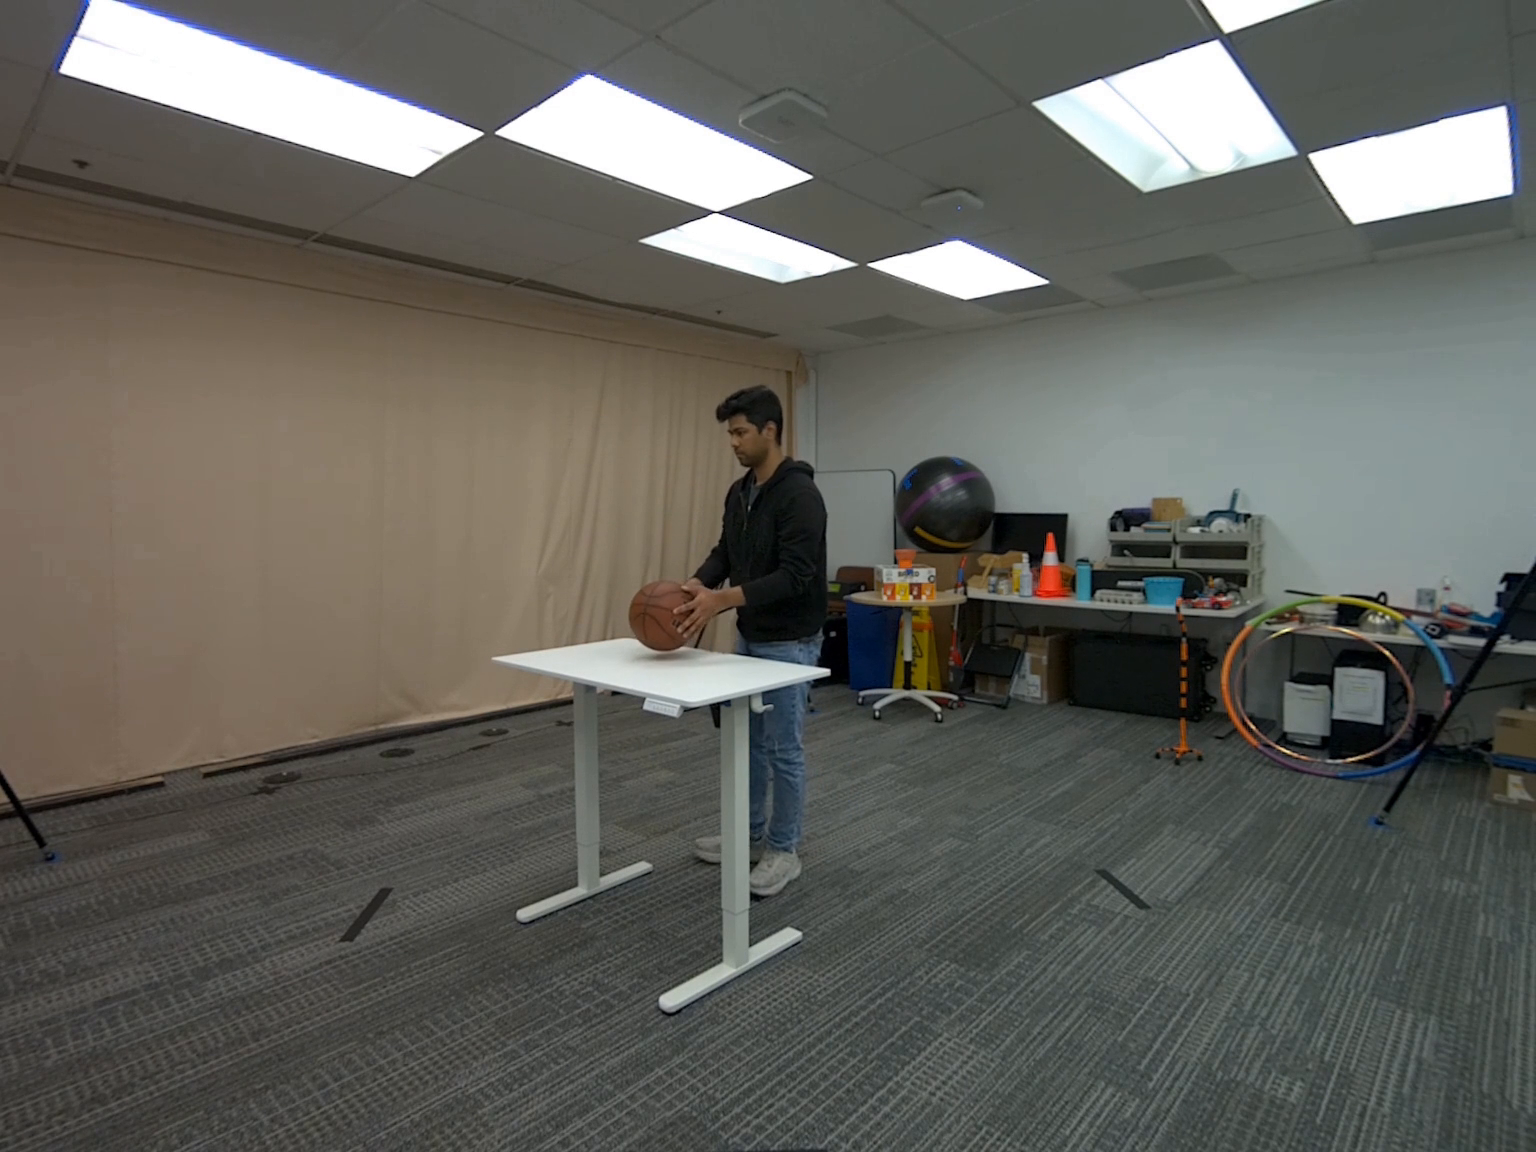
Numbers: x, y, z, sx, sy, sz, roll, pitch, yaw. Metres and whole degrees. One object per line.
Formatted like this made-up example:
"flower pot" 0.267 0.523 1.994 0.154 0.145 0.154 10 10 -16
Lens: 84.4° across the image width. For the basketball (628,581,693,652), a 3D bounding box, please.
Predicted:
"basketball" -0.343 0.135 2.845 0.236 0.235 0.237 0 4 -2
